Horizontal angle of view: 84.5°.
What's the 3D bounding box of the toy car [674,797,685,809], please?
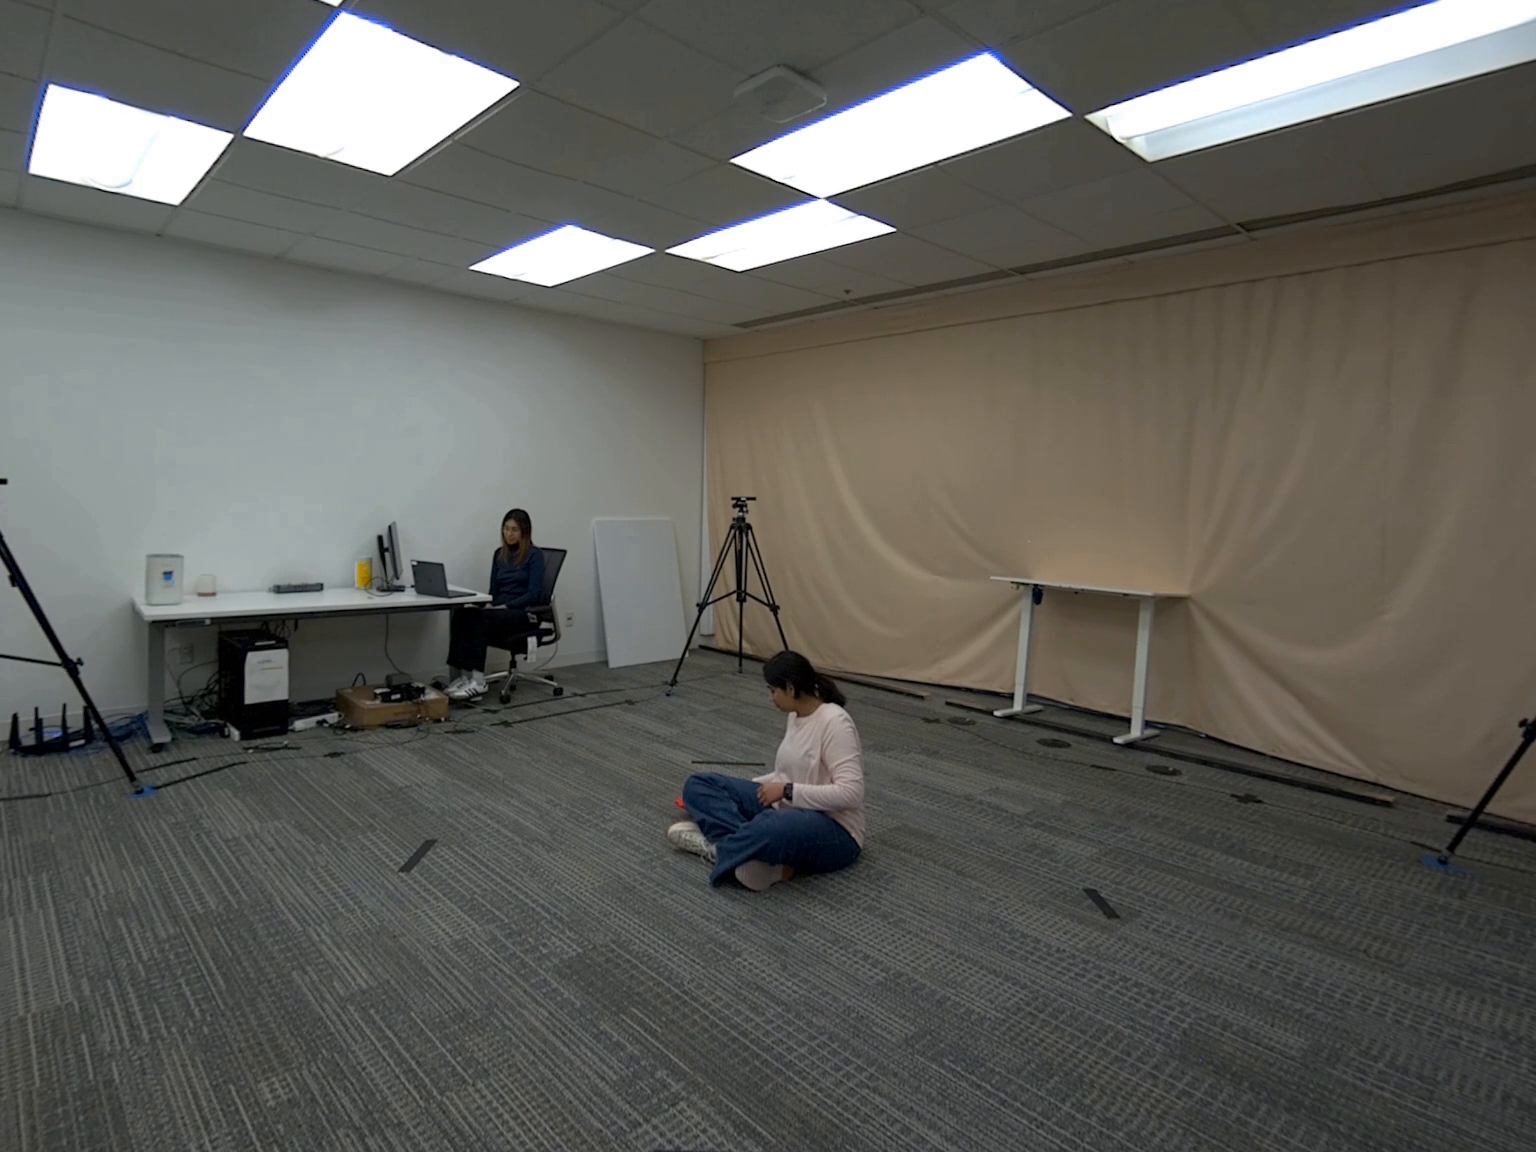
[{"bbox_3d":[-0.293,0.974,3.689,0.249,0.083,0.133,1,0,-32],"label":"toy car"}]
